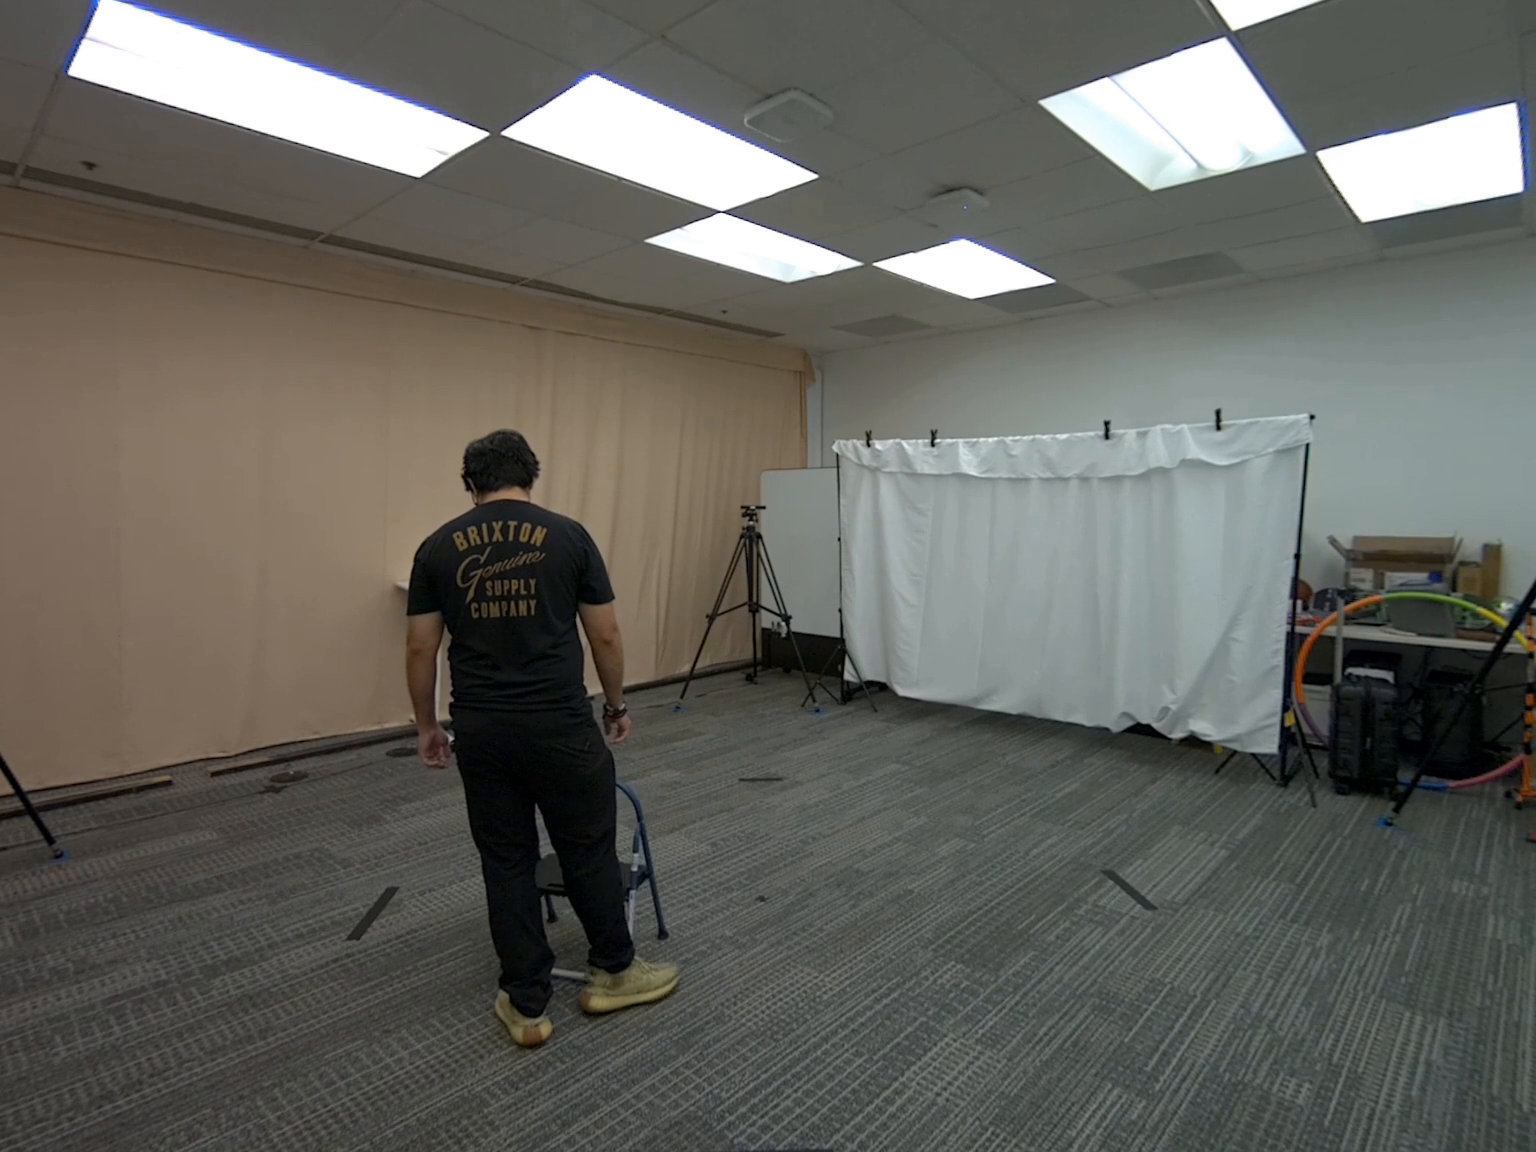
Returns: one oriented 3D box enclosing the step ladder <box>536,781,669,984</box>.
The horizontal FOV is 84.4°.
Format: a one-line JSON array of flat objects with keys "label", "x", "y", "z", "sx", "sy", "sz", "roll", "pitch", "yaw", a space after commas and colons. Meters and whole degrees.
[{"label": "step ladder", "x": -0.574, "y": 0.881, "z": 2.614, "sx": 0.437, "sy": 0.605, "sz": 0.344, "roll": 0, "pitch": 4, "yaw": 14}]
